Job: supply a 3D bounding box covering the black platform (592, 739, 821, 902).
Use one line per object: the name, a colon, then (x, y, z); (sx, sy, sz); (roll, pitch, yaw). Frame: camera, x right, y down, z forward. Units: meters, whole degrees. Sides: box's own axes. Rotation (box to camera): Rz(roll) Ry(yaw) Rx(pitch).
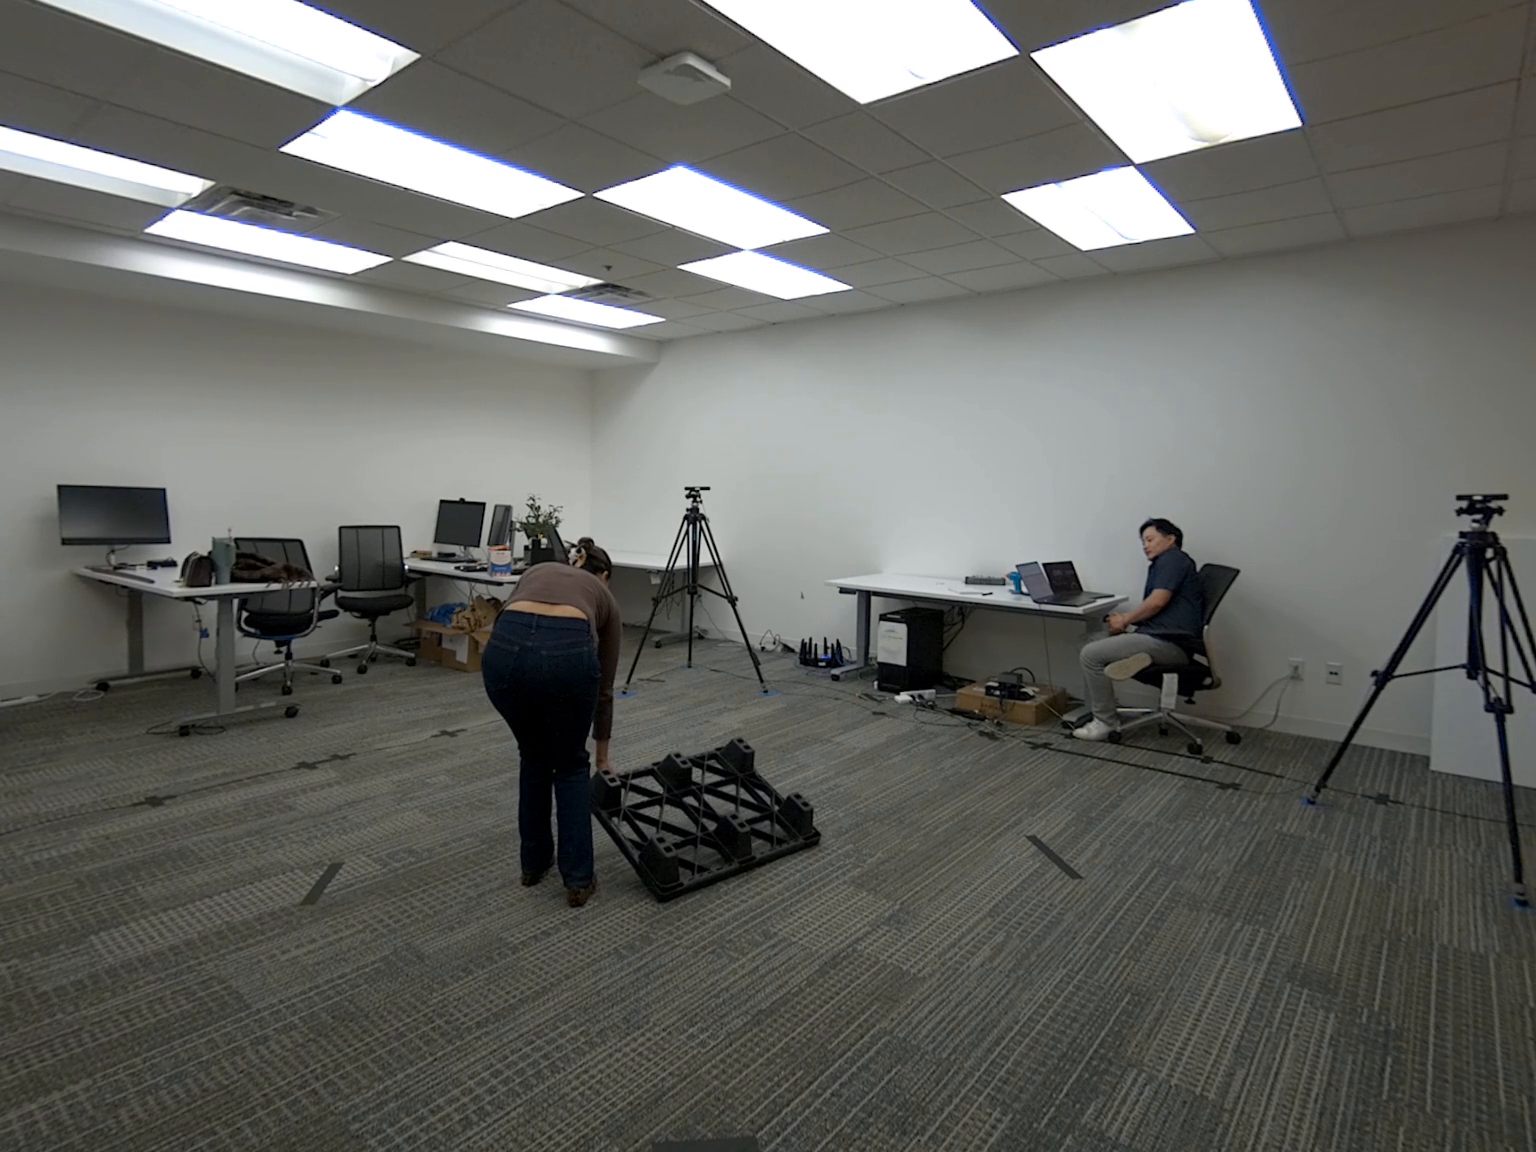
black platform: (-0.256, 0.878, 3.260); (0.781, 0.141, 0.631); (-4, 29, -42)
